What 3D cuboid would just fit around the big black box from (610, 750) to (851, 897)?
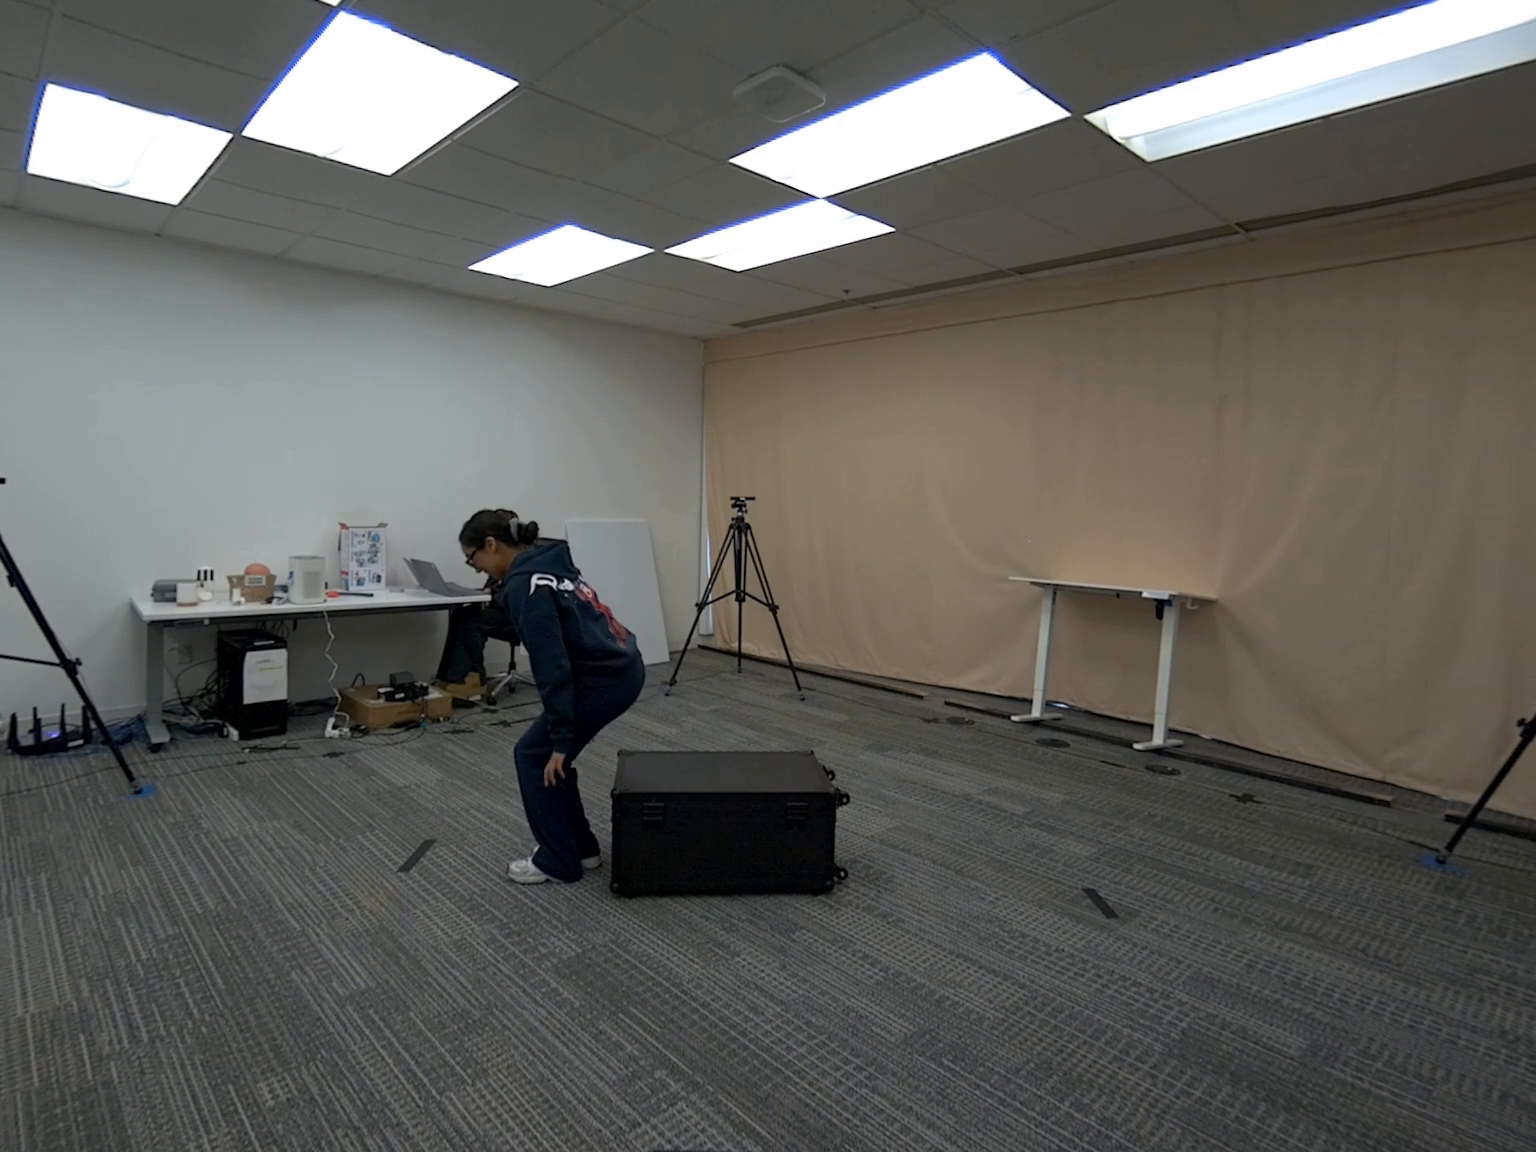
[{"bbox_3d":[-0.151,0.905,3.158,0.857,0.395,0.525,0,4,-7],"label":"big black box"}]
